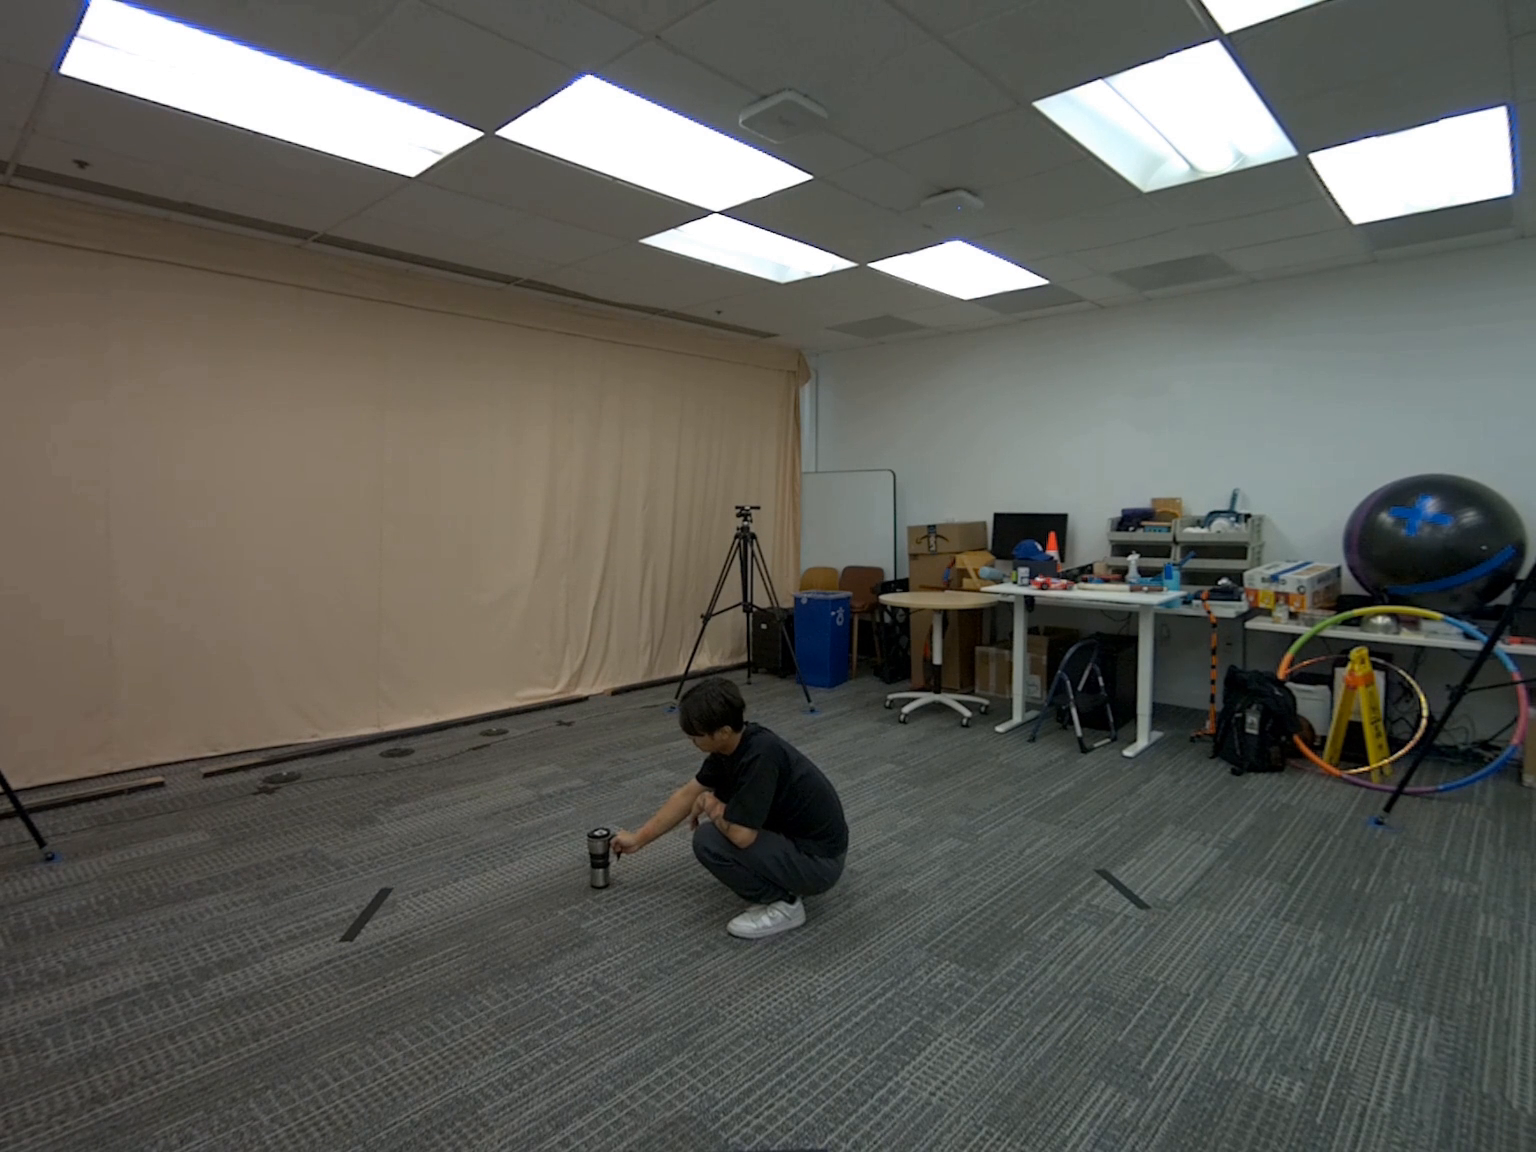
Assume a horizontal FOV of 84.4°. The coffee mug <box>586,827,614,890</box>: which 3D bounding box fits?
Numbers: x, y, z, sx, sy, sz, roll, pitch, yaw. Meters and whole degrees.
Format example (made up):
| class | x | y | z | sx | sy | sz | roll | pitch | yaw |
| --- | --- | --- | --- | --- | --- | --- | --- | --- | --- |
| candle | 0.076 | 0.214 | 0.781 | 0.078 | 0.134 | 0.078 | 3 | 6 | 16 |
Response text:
| class | x | y | z | sx | sy | sz | roll | pitch | yaw |
| --- | --- | --- | --- | --- | --- | --- | --- | --- | --- |
| coffee mug | -0.608 | 1.043 | 3.086 | 0.126 | 0.203 | 0.085 | -5 | -5 | 43 |
